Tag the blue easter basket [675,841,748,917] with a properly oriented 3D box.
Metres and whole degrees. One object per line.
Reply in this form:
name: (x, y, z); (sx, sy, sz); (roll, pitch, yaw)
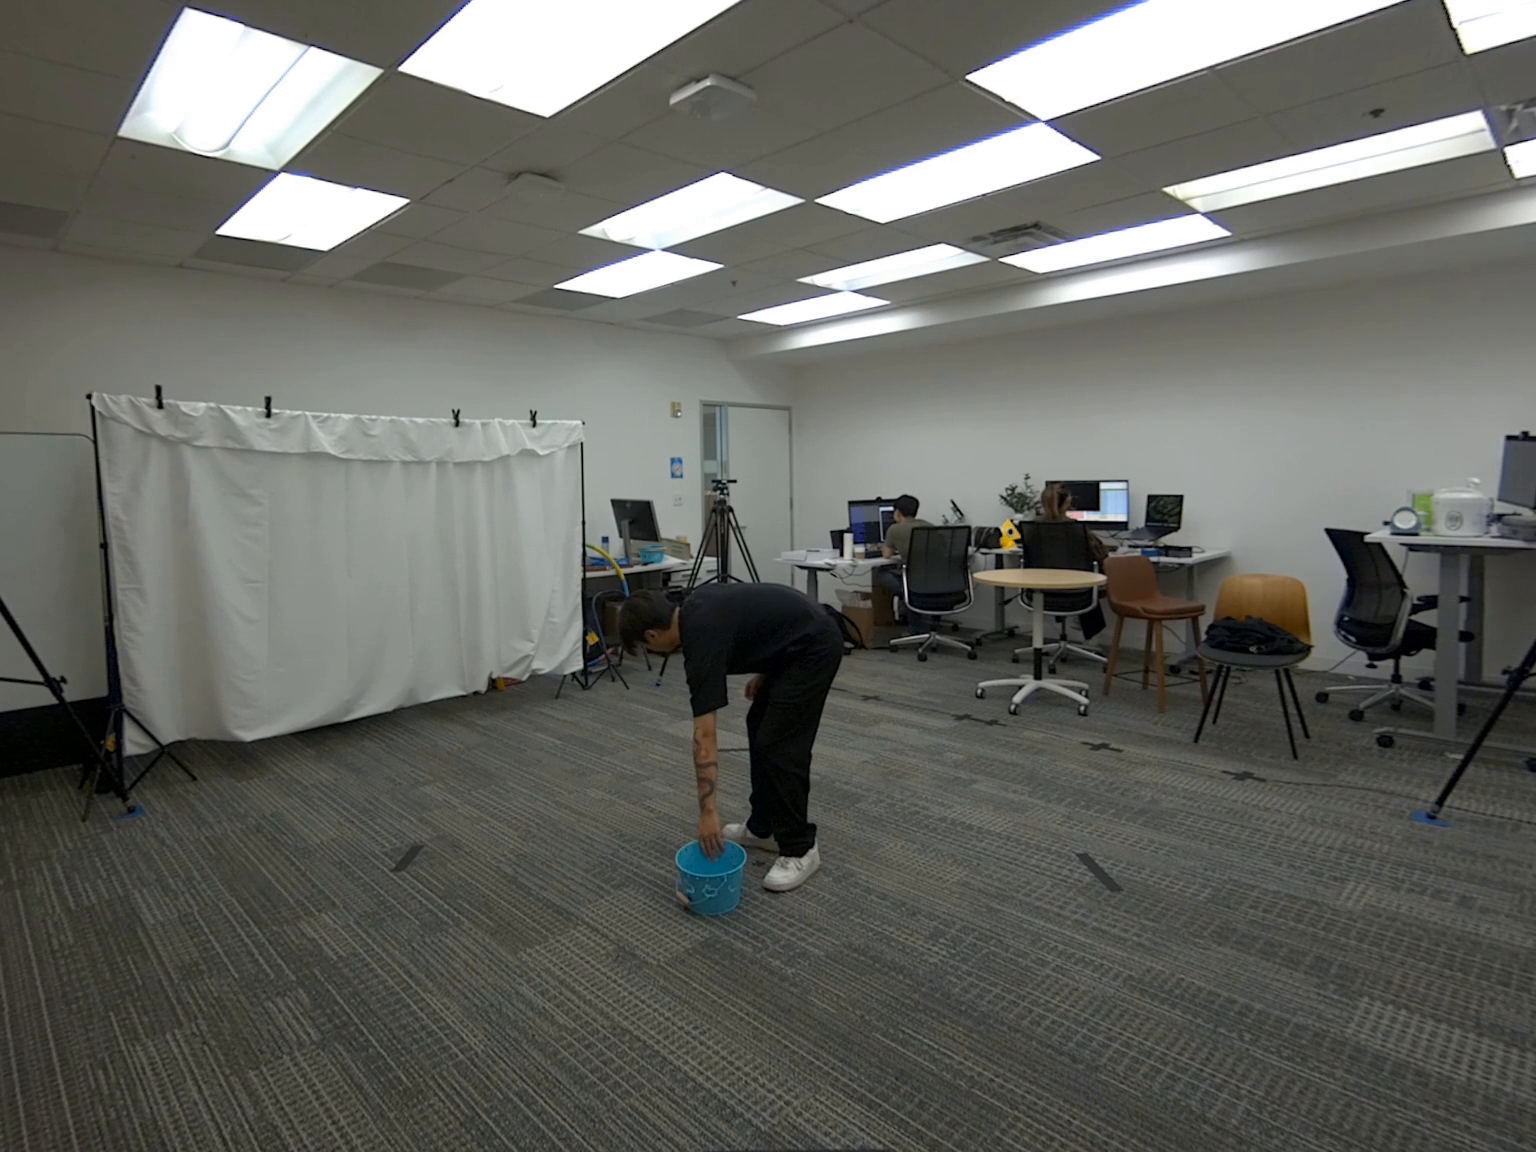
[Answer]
blue easter basket: (-0.177, 0.997, 2.822); (0.243, 0.154, 0.246); (-2, 11, -1)
